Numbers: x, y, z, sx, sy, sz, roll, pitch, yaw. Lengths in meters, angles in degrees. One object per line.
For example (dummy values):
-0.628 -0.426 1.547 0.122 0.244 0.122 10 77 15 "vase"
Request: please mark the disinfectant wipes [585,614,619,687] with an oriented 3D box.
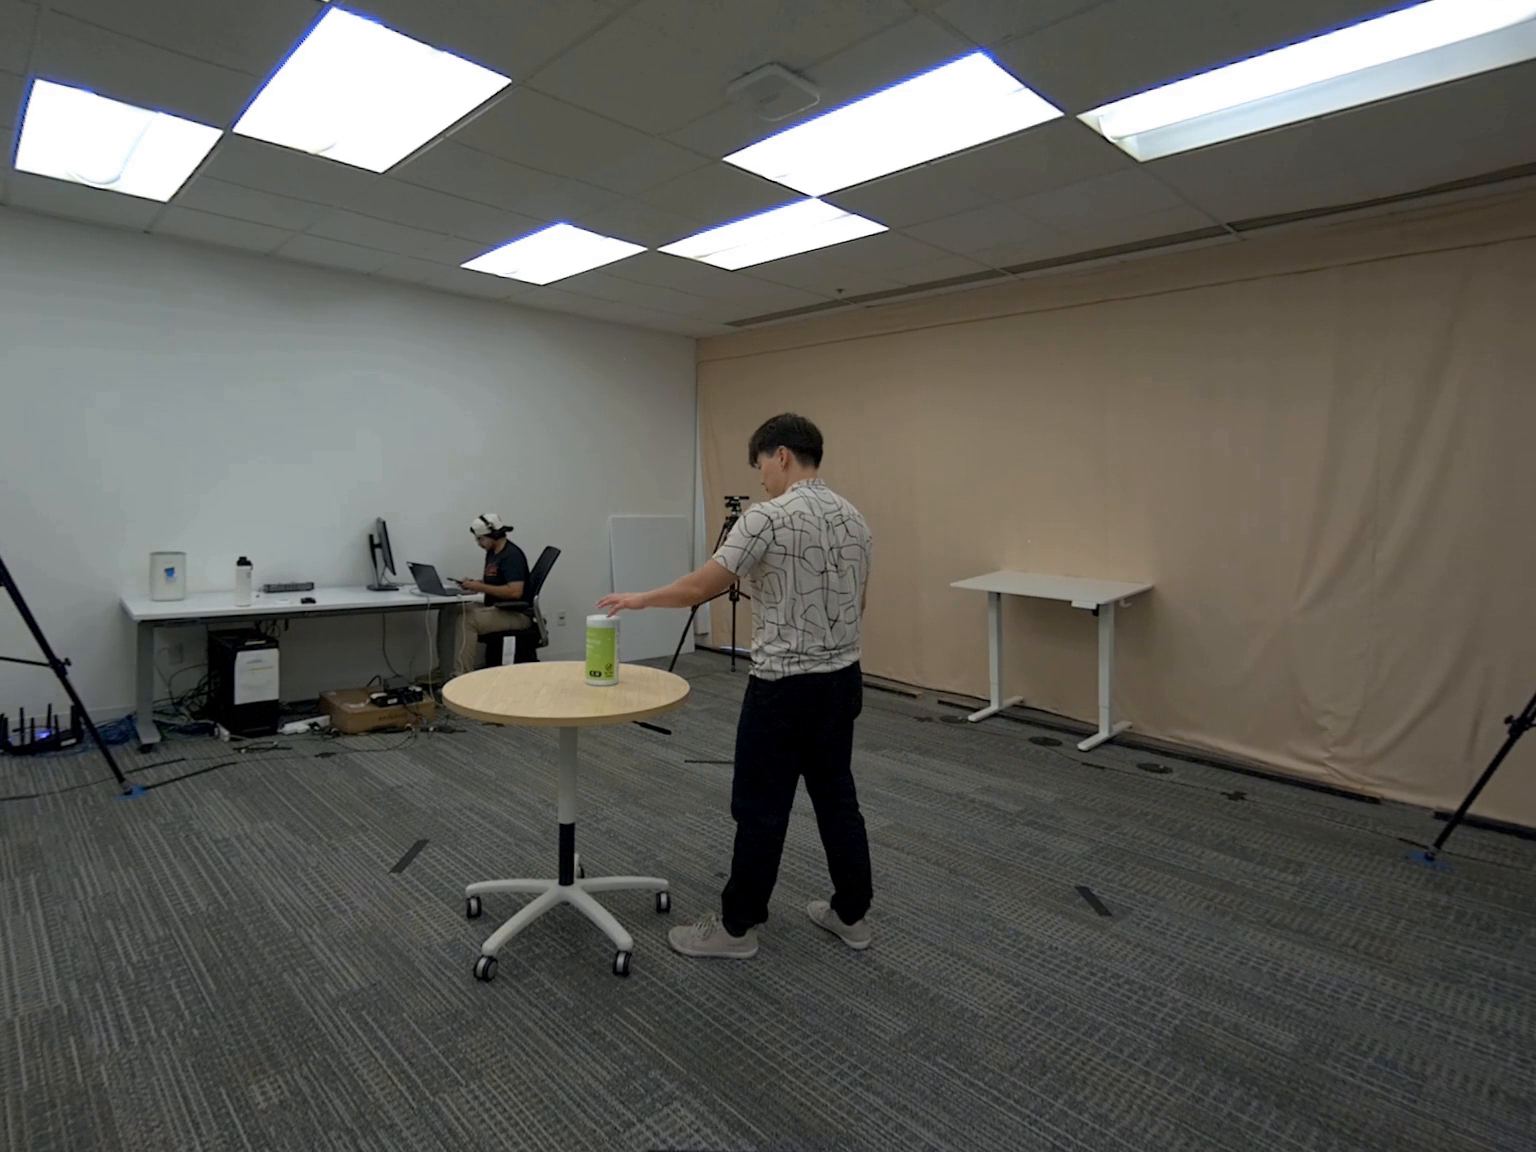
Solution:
-0.536 0.241 2.727 0.118 0.217 0.118 1 3 -1 "disinfectant wipes"
